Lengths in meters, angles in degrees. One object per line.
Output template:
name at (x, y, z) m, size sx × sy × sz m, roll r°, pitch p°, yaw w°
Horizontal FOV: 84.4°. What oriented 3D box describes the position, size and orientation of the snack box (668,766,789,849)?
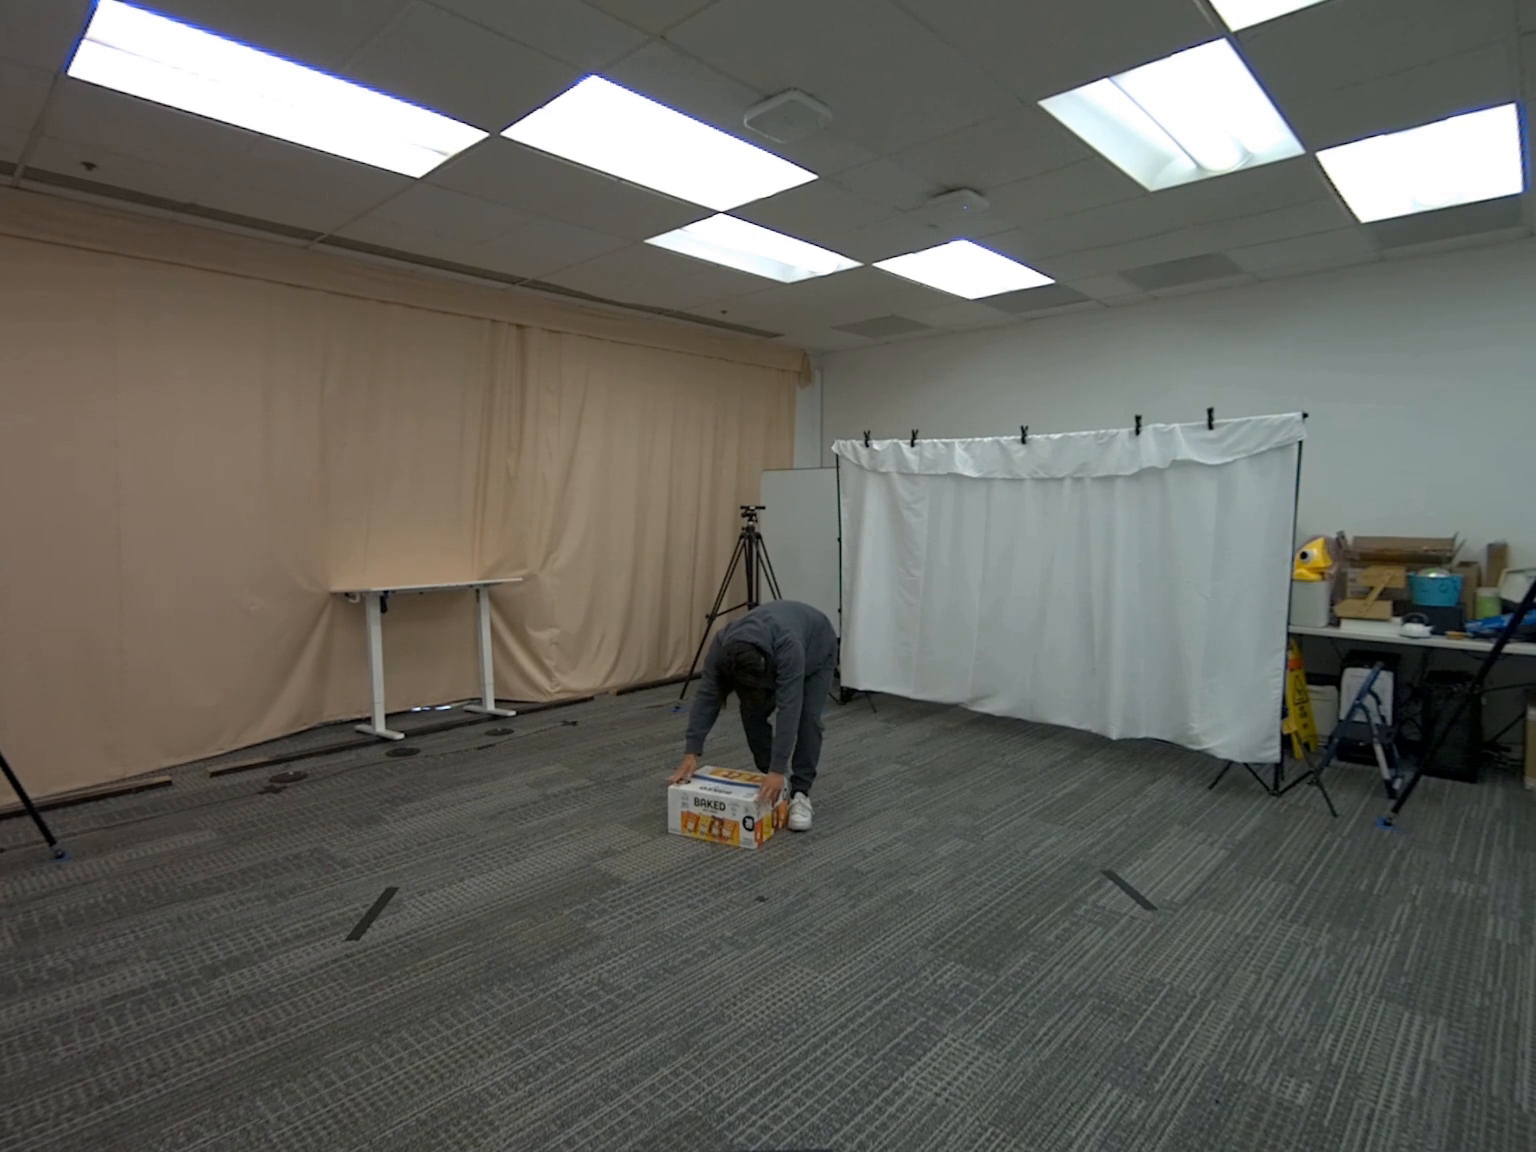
snack box at (-0.171, 0.989, 3.635) m, size 0.416 × 0.205 × 0.332 m, roll 2°, pitch 4°, yaw 26°
